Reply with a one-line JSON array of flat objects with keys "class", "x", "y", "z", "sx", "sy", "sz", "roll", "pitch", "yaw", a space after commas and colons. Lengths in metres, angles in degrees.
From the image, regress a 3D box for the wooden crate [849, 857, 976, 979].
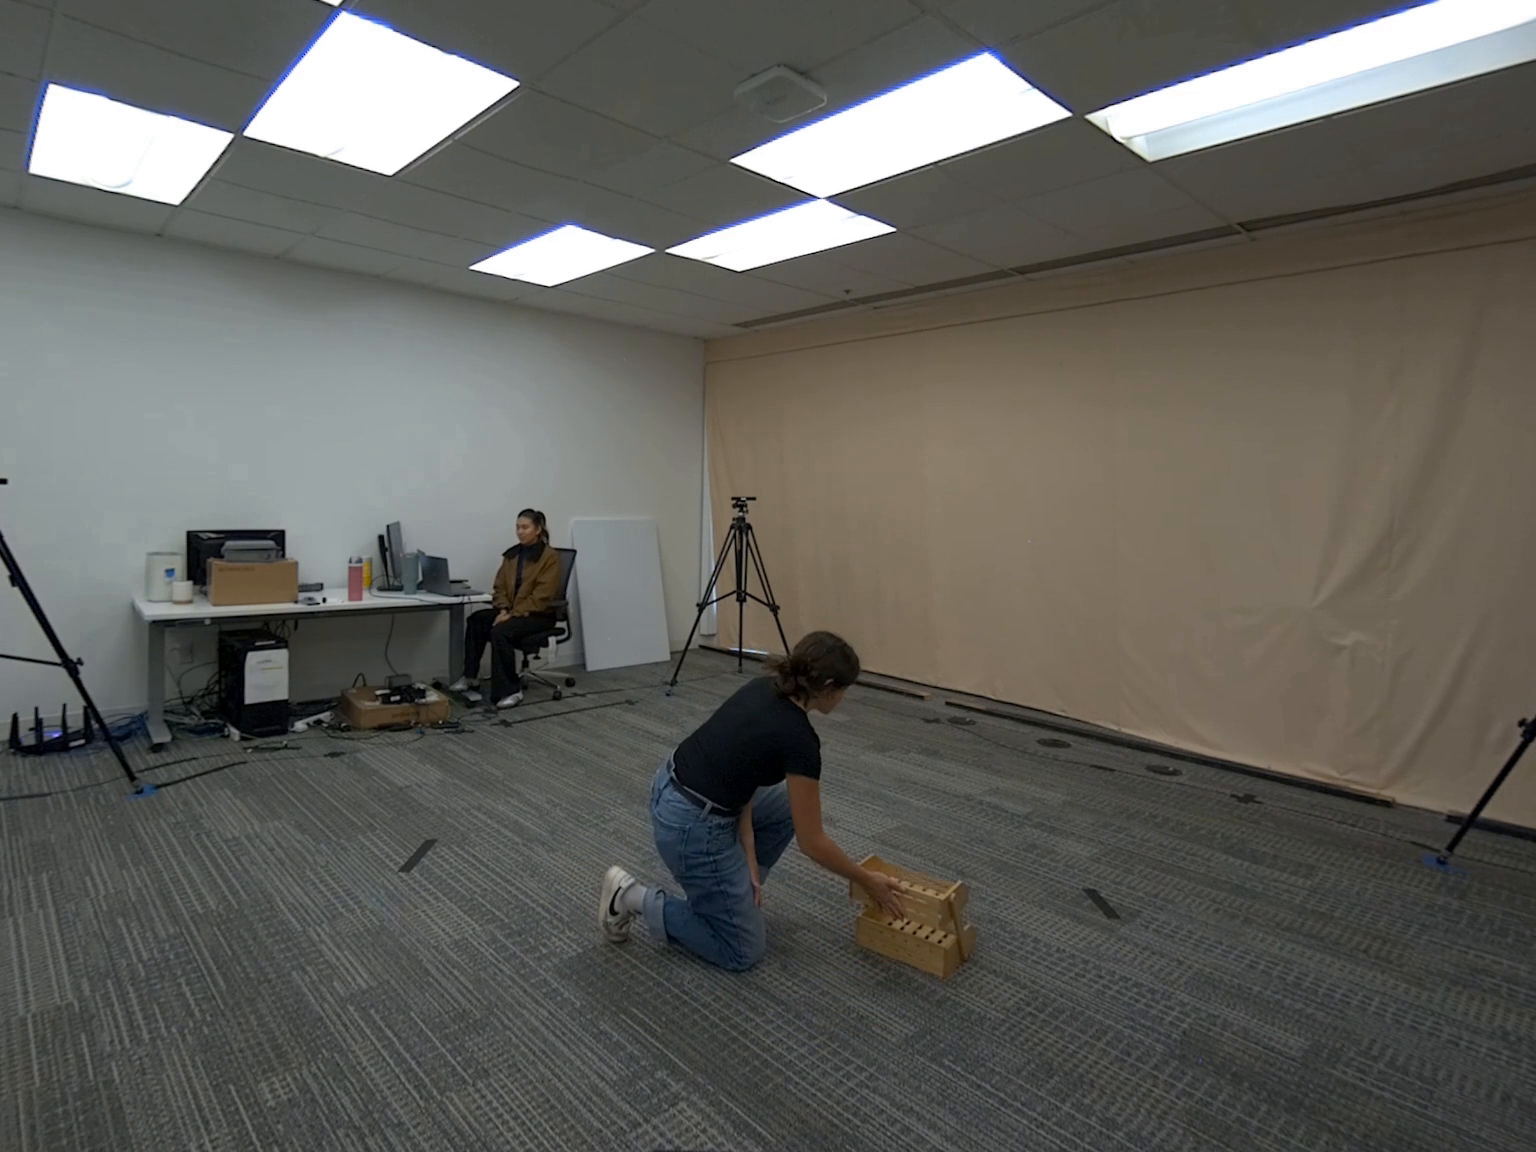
[{"class": "wooden crate", "x": 0.453, "y": 1.030, "z": 2.625, "sx": 0.332, "sy": 0.272, "sz": 0.296, "roll": 5, "pitch": 6, "yaw": 35}]
